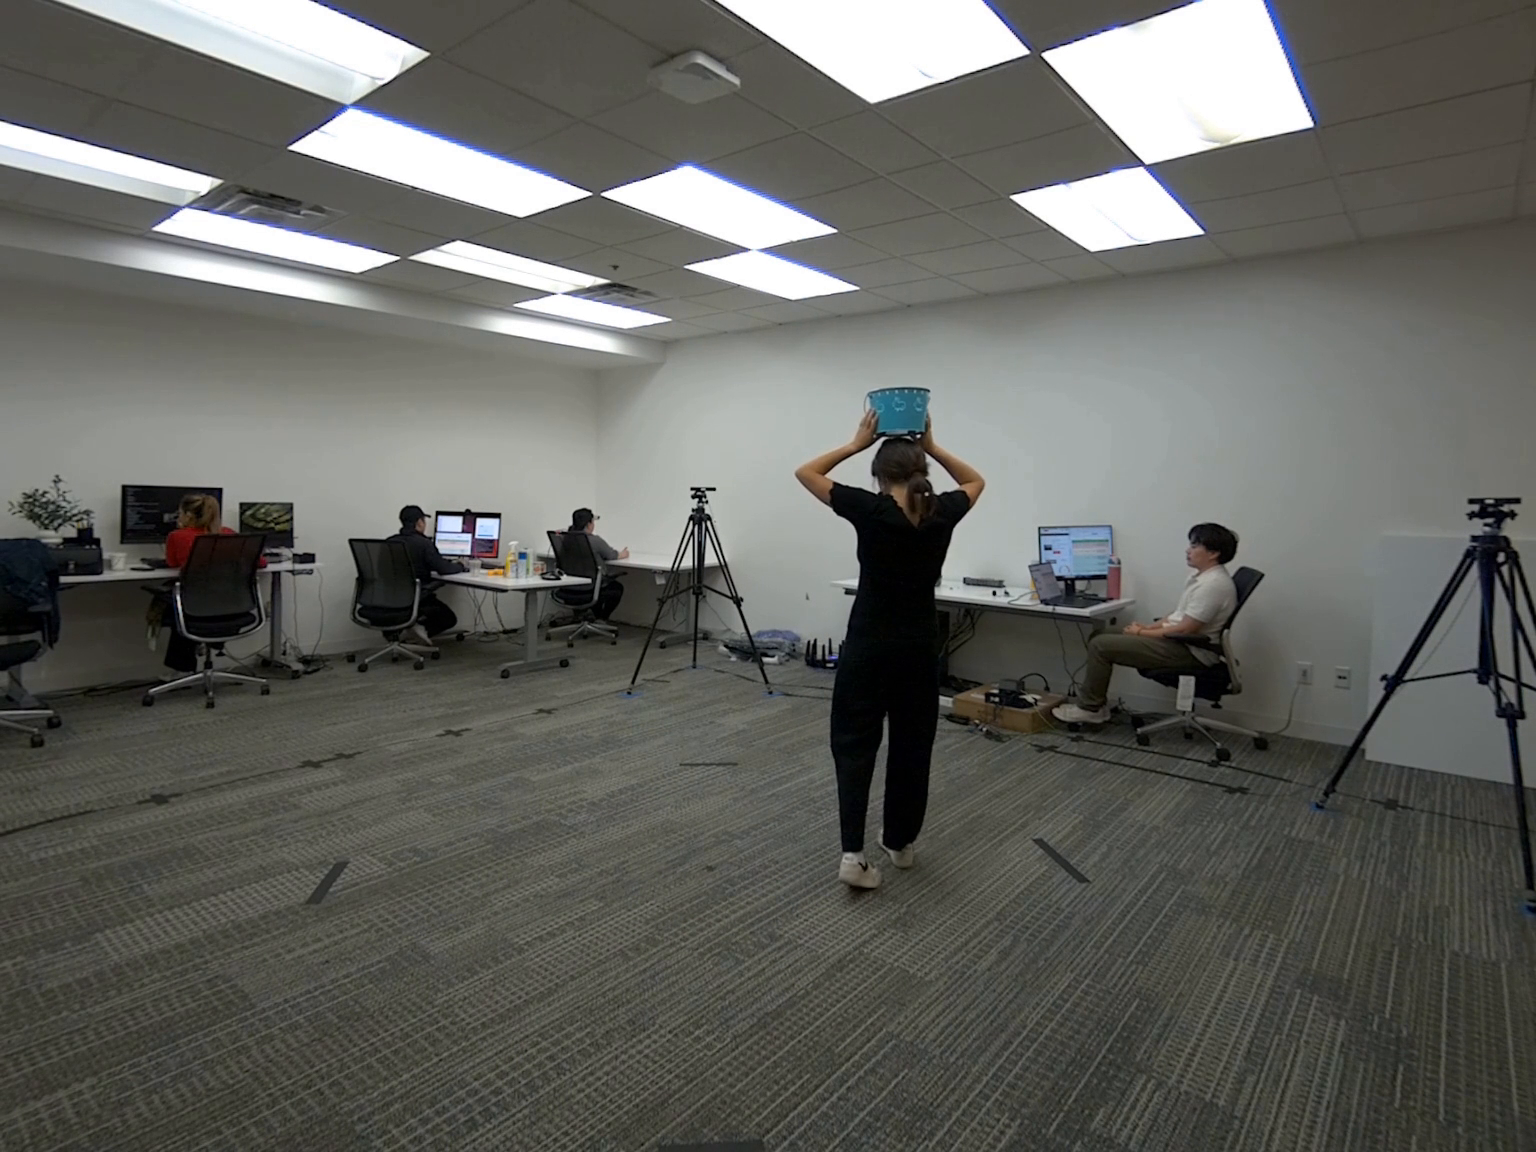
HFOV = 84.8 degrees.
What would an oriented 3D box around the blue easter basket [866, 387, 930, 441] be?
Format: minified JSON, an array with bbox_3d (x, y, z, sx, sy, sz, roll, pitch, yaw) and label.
[{"bbox_3d":[0.487,-0.604,3.141,0.243,0.155,0.245,0,5,-2],"label":"blue easter basket"}]
